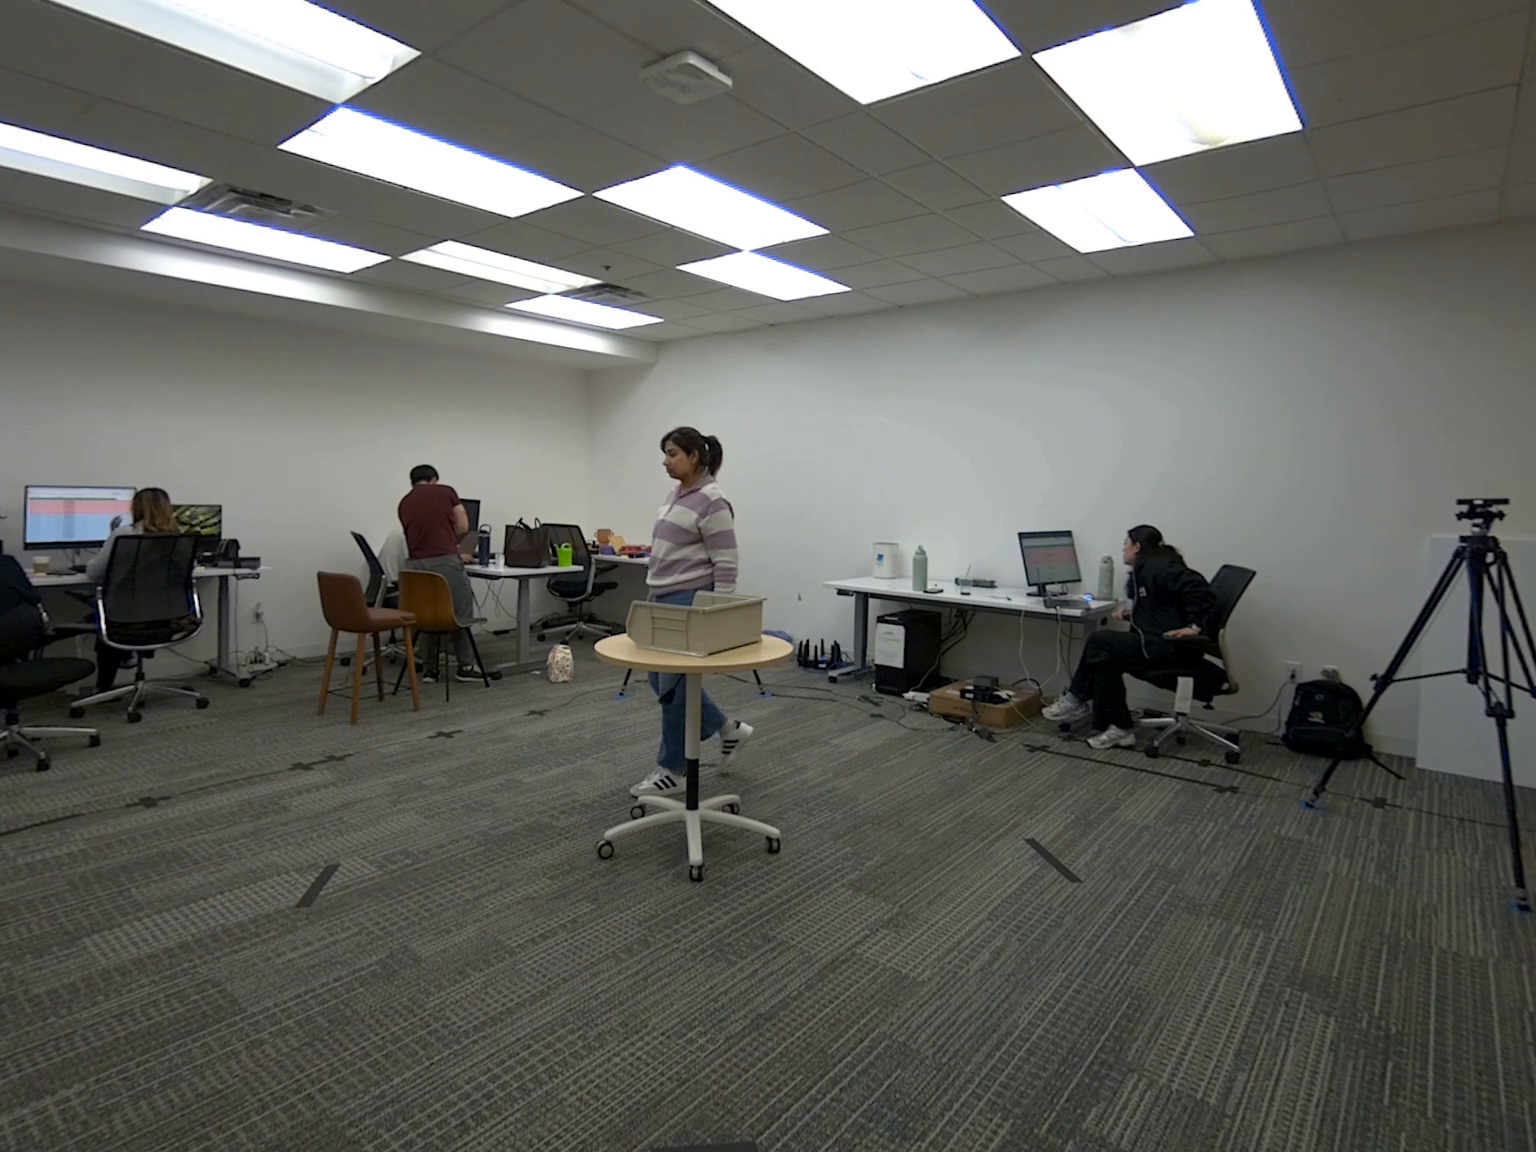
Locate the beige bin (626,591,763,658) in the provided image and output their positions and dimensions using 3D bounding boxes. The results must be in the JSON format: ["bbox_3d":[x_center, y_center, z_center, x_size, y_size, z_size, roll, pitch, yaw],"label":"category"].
[{"bbox_3d":[-0.285,0.175,3.314,0.389,0.188,0.411,6,6,32],"label":"beige bin"}]
